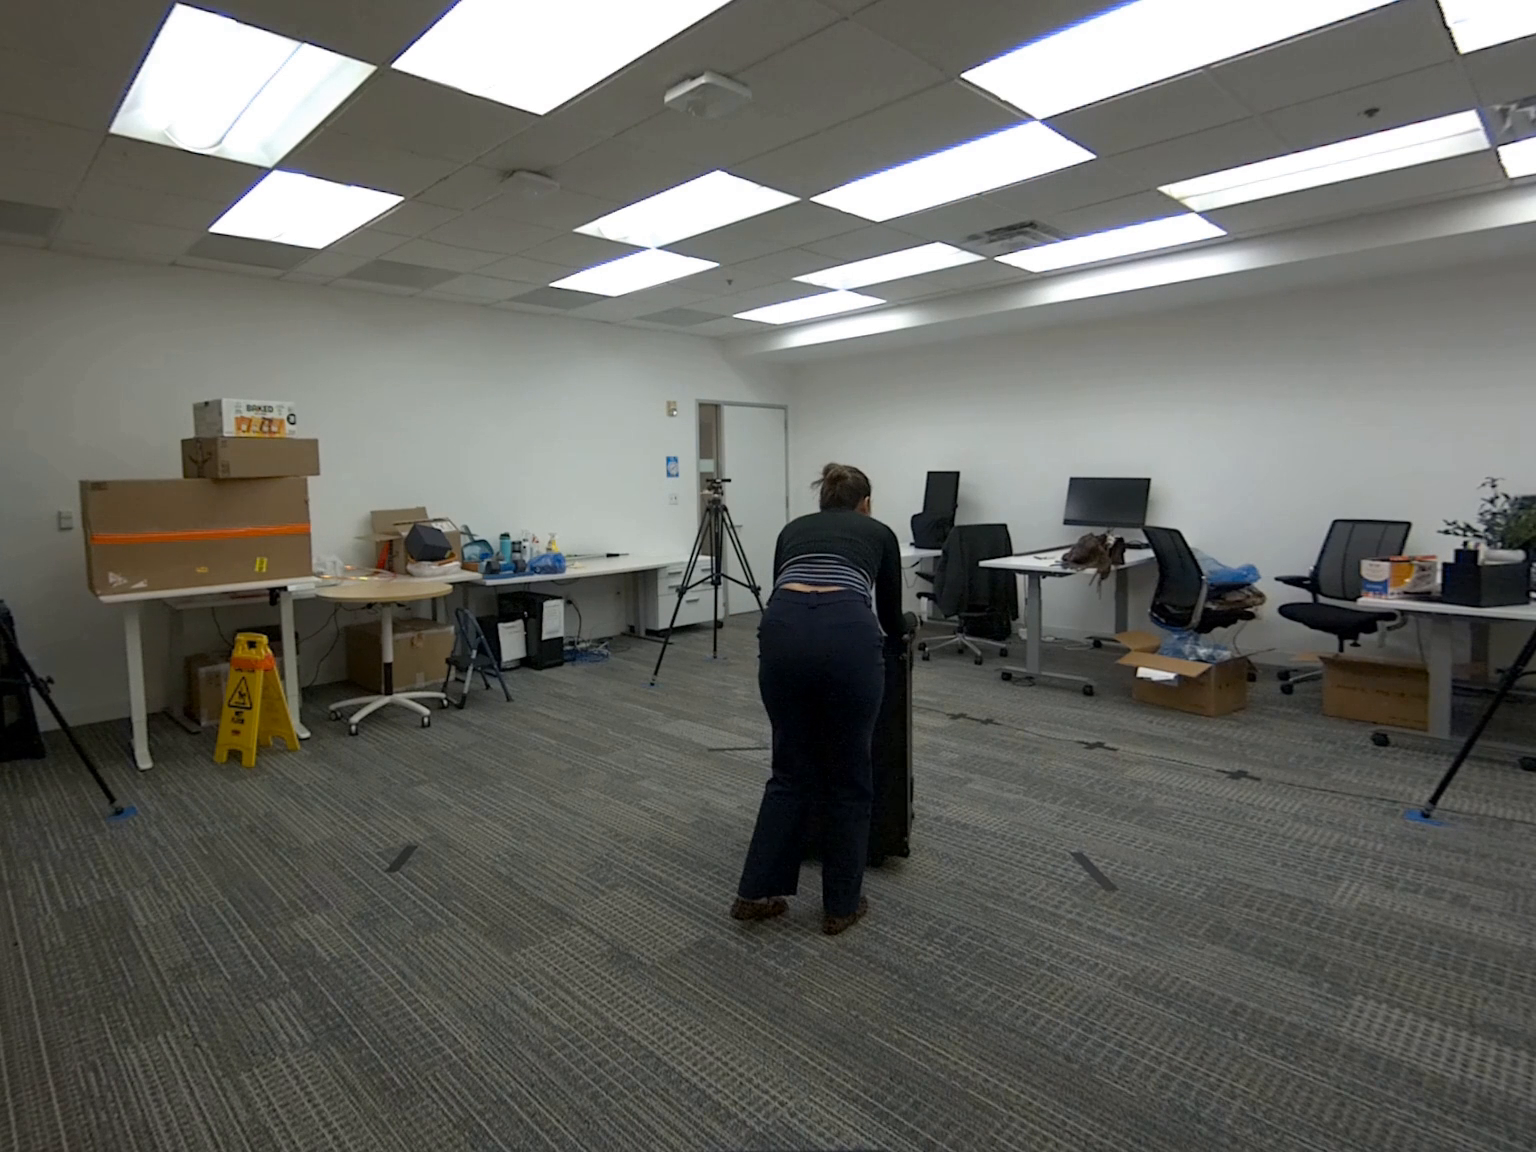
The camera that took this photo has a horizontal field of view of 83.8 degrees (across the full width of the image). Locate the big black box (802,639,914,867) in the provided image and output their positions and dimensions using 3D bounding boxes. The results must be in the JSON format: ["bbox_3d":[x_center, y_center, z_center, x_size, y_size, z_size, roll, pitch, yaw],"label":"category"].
[{"bbox_3d":[0.292,0.610,3.168,0.529,0.857,0.393,0,5,14],"label":"big black box"}]
